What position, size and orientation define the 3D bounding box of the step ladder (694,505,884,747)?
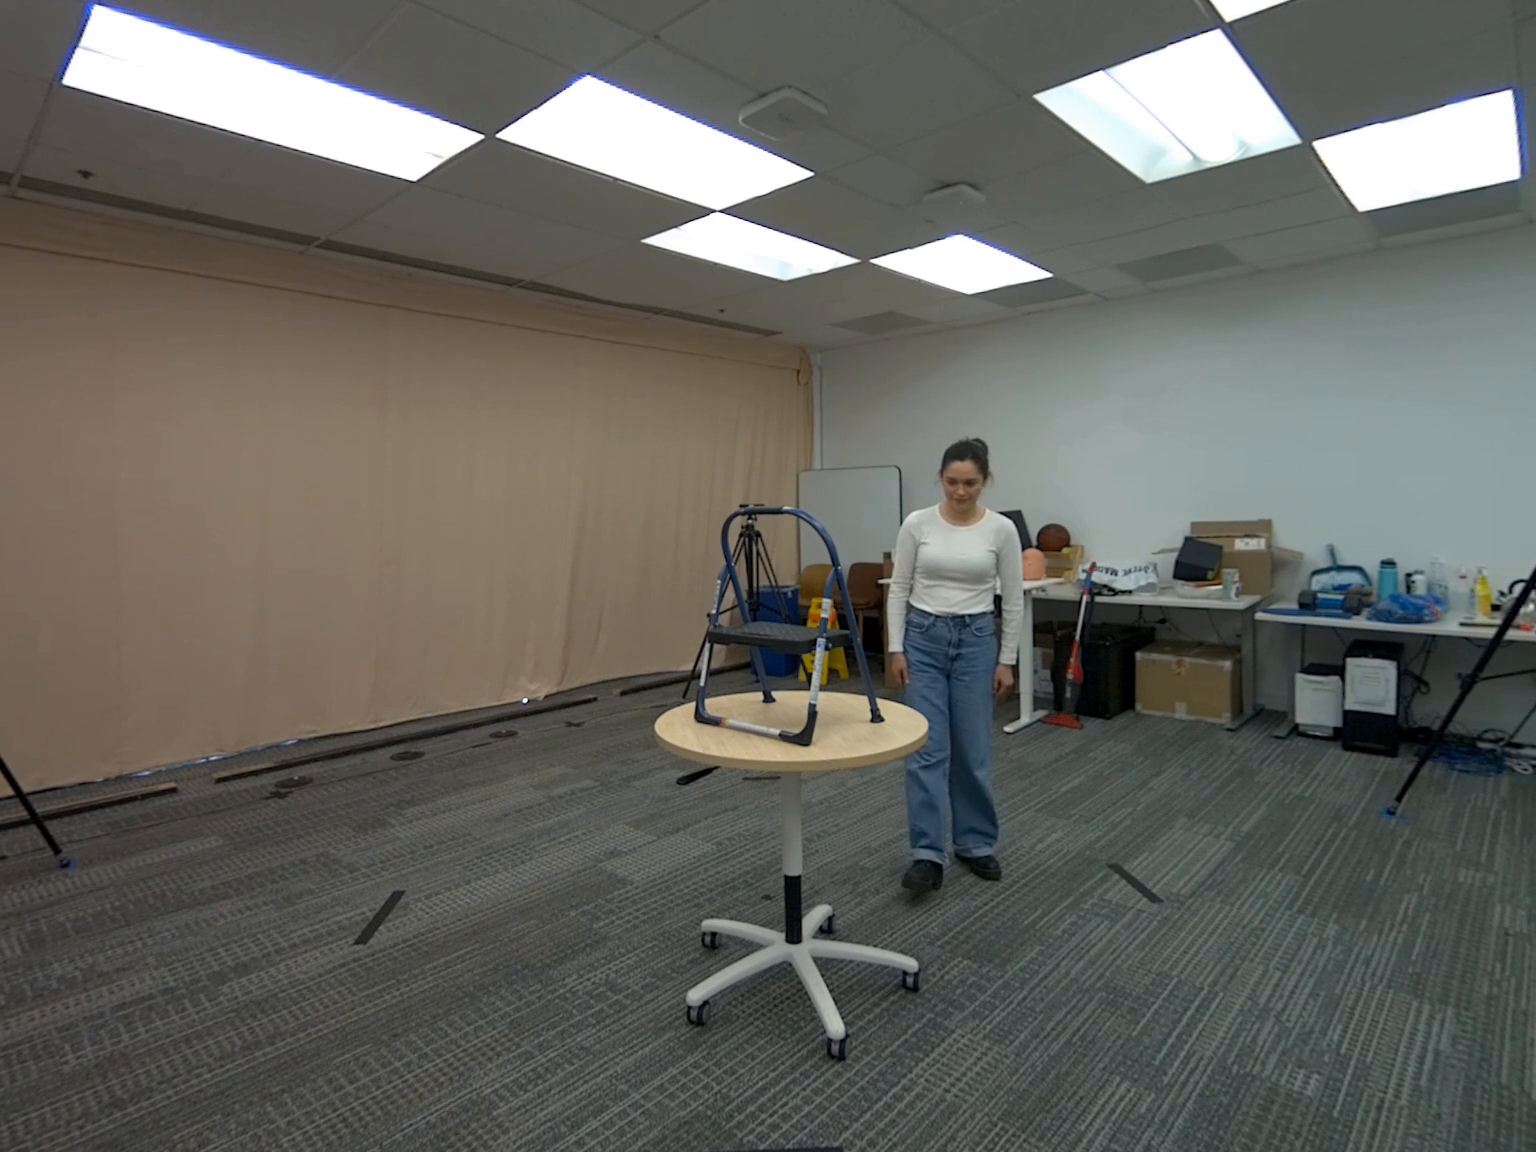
[{"bbox_3d":[0.050,0.110,2.364,0.444,0.605,0.339,1,3,41],"label":"step ladder"}]
